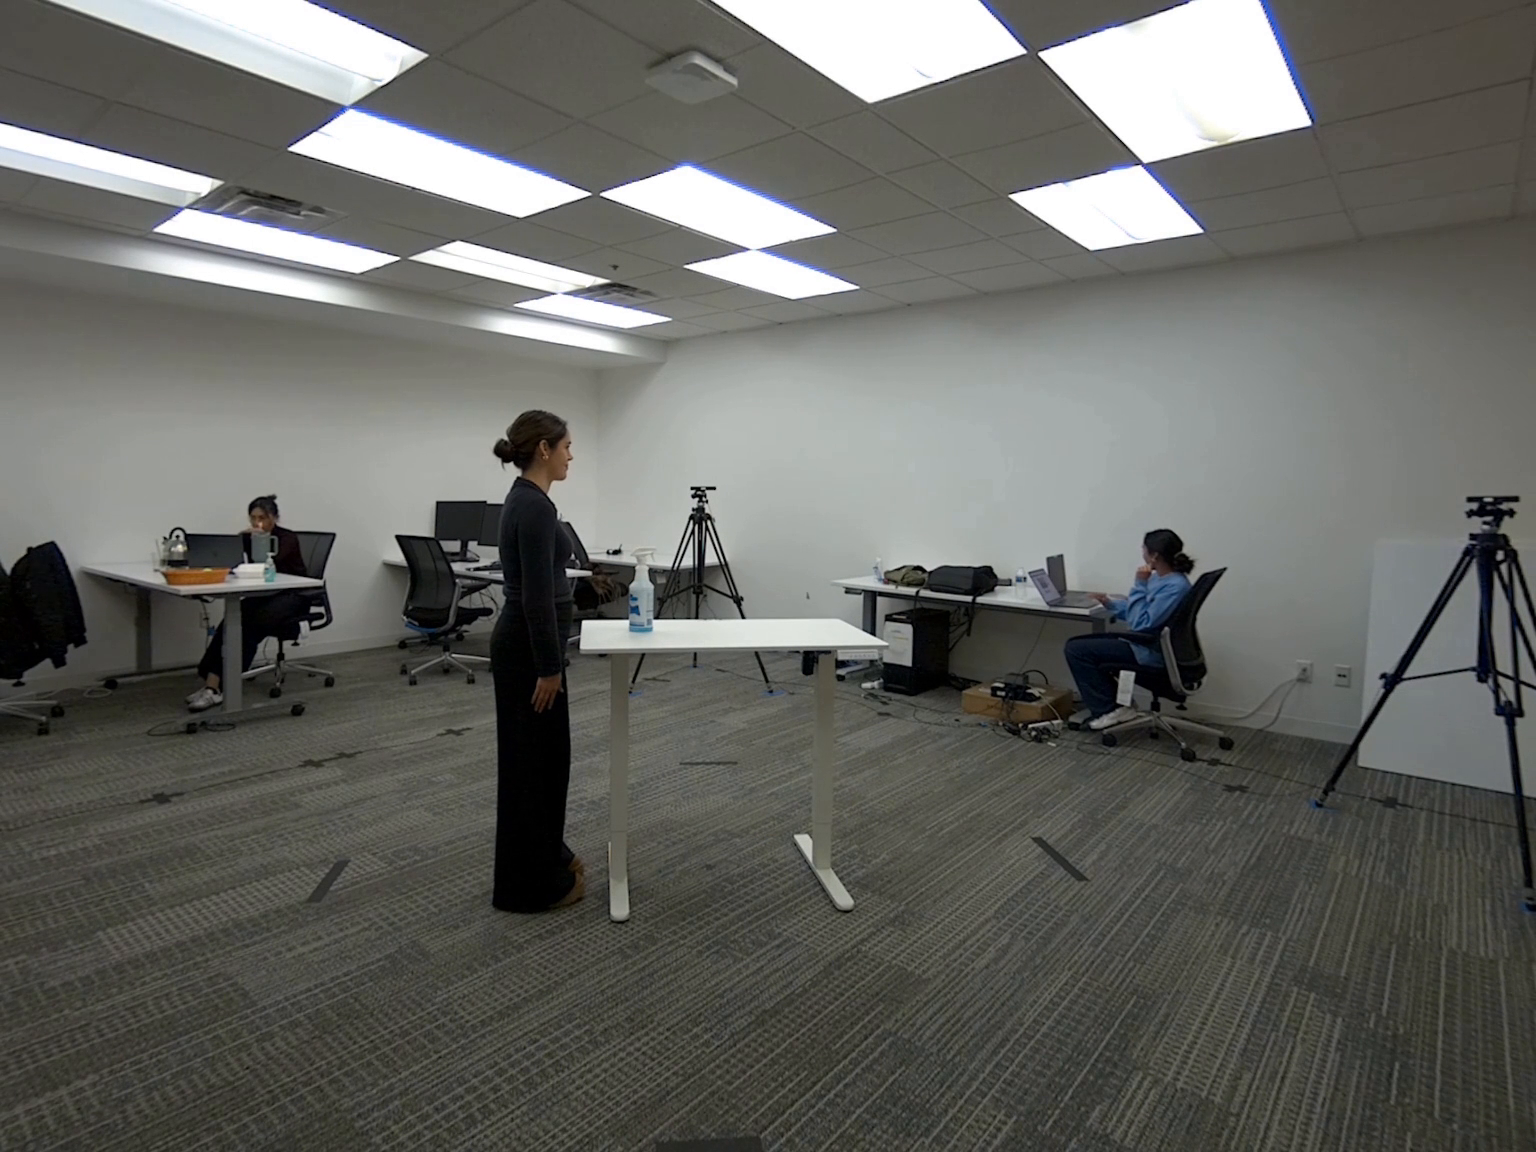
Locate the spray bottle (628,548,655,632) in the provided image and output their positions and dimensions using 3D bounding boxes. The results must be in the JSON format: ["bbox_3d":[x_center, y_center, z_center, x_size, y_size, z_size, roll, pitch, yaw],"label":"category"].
[{"bbox_3d":[-0.461,0.048,2.996,0.091,0.297,0.086,2,1,10],"label":"spray bottle"}]
